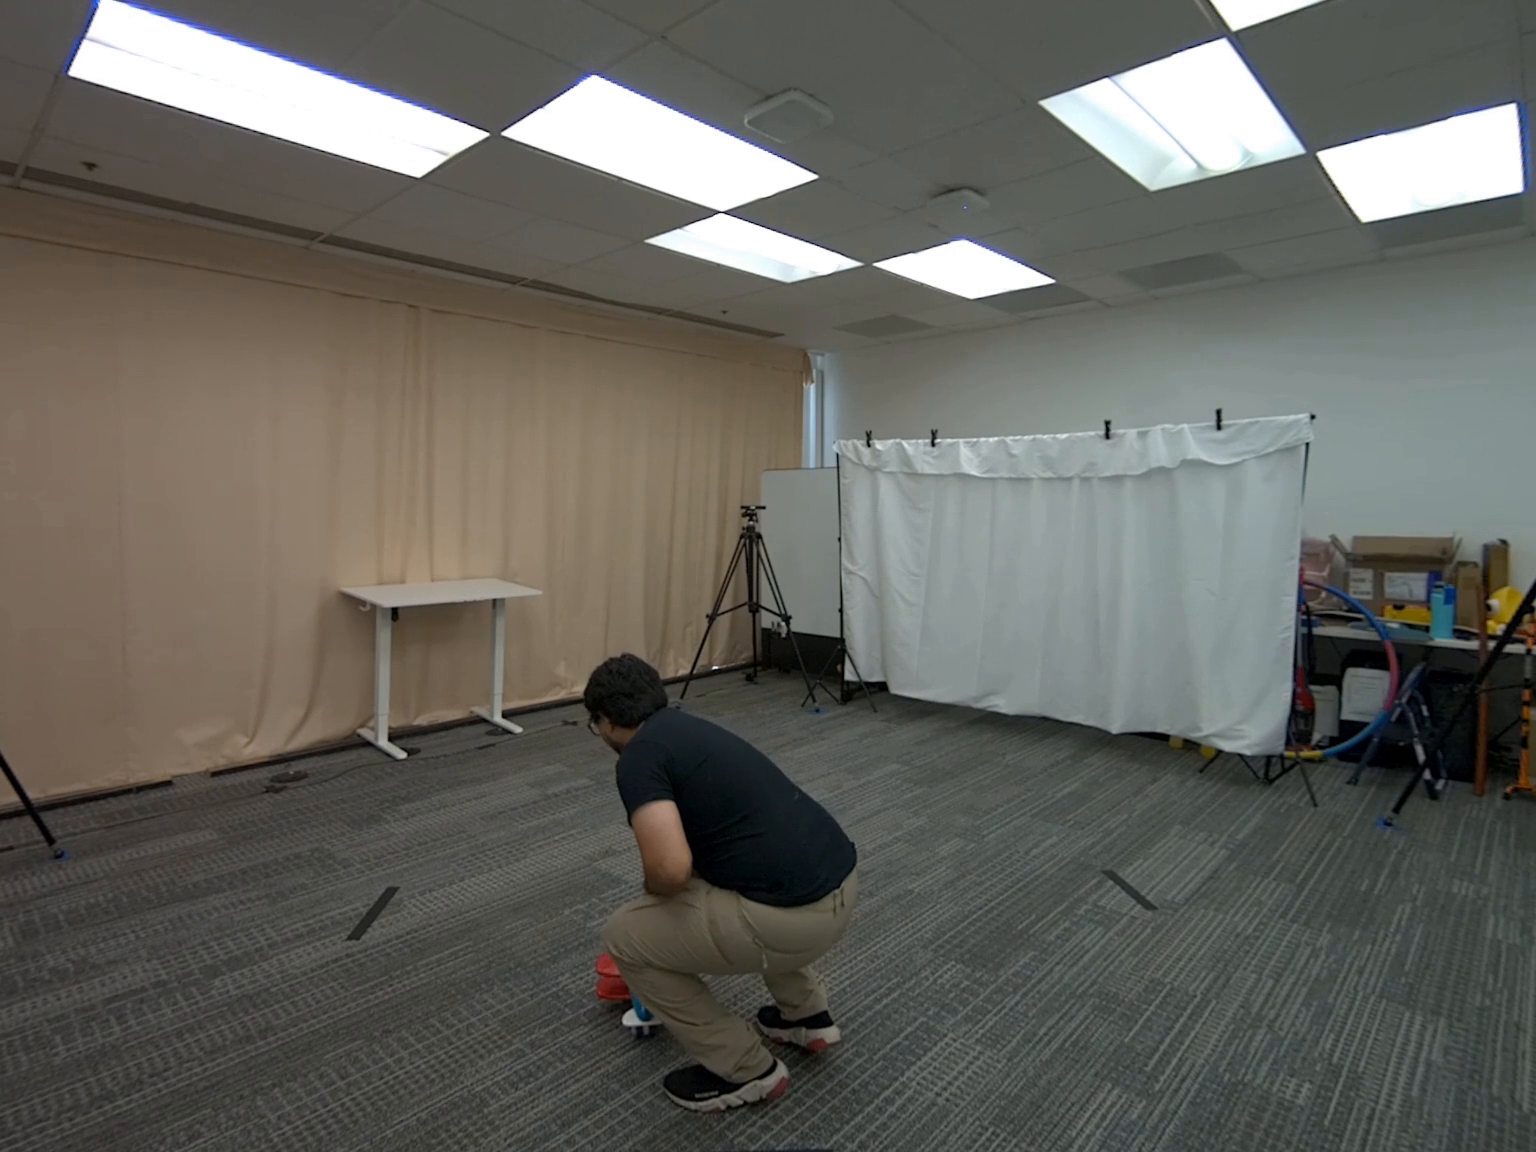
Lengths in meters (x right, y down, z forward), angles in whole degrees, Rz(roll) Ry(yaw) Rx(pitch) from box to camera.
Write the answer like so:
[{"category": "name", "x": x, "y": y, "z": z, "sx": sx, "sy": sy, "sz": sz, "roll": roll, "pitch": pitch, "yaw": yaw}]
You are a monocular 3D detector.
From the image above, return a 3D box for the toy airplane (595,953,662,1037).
[{"category": "toy airplane", "x": -0.327, "y": 1.127, "z": 2.297, "sx": 0.244, "sy": 0.156, "sz": 0.267, "roll": -3, "pitch": 4, "yaw": -36}]
